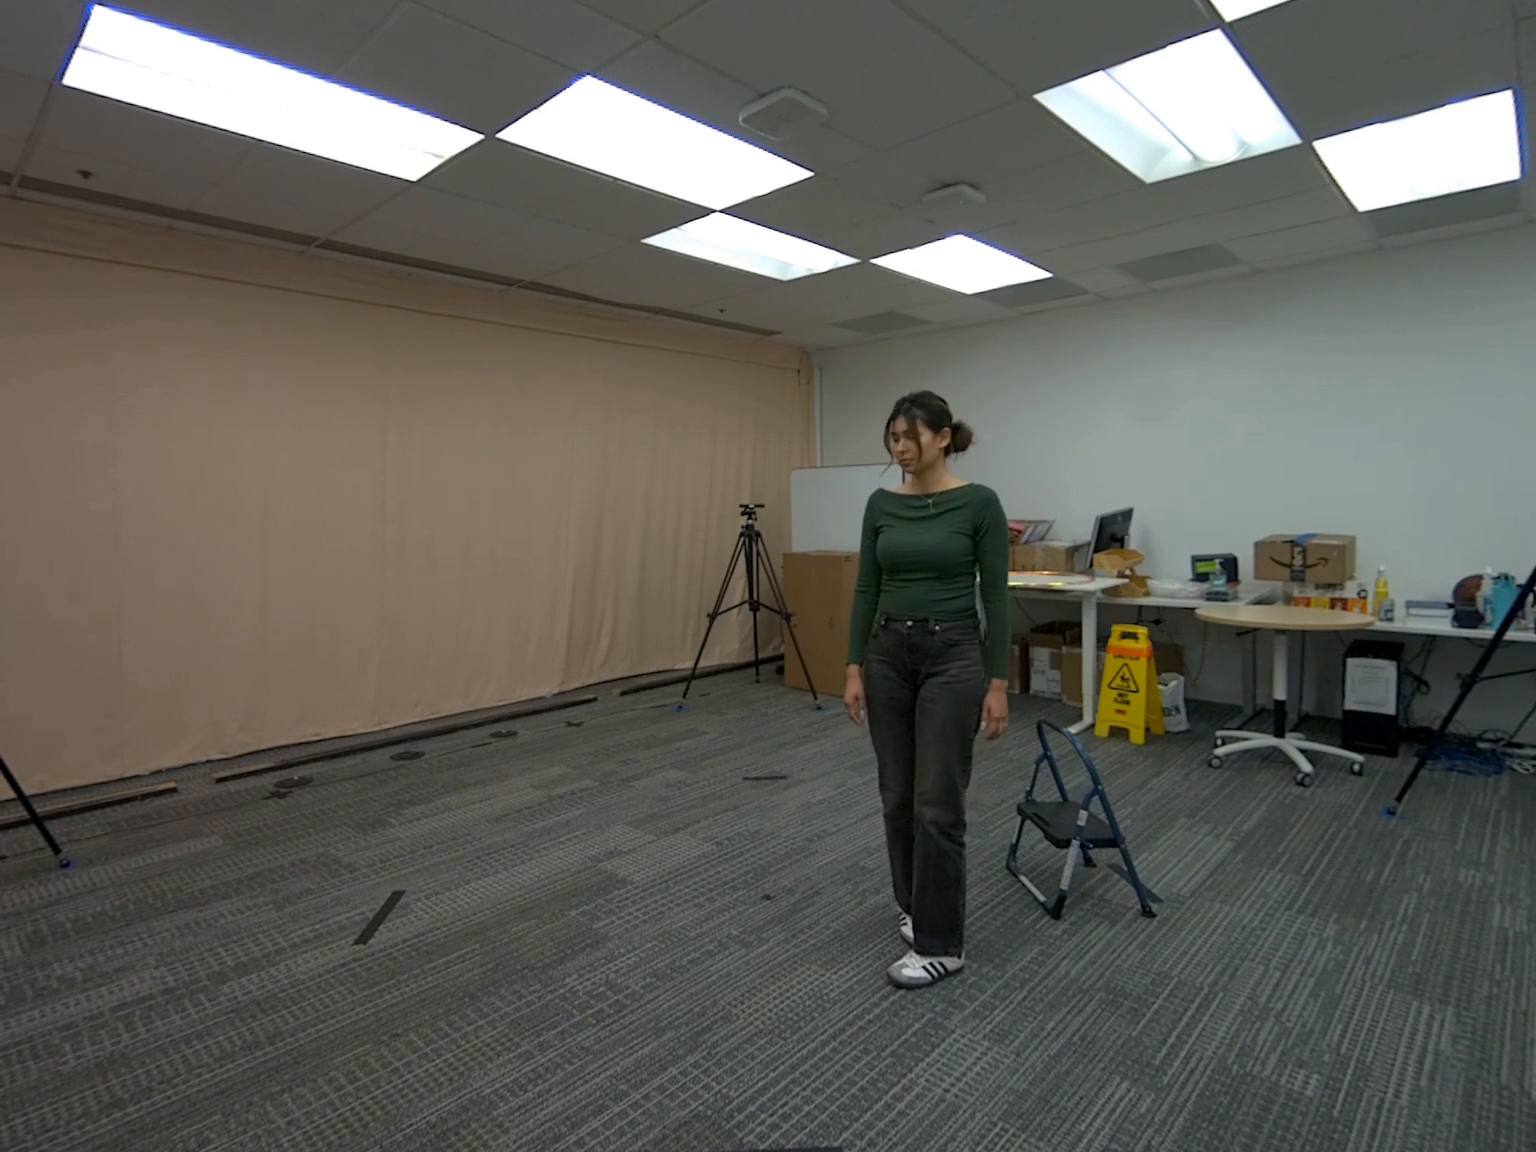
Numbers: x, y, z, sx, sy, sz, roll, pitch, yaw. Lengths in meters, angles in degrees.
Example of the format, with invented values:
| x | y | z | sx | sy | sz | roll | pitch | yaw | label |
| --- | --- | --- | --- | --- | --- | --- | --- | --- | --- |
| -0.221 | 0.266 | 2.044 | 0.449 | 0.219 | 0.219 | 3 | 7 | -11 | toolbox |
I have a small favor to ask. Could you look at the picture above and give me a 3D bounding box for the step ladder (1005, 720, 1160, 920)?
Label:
| x | y | z | sx | sy | sz | roll | pitch | yaw | label |
| --- | --- | --- | --- | --- | --- | --- | --- | --- | --- |
| 1.097 | 0.821 | 2.984 | 0.347 | 0.605 | 0.434 | -1 | 3 | -6 | step ladder |
